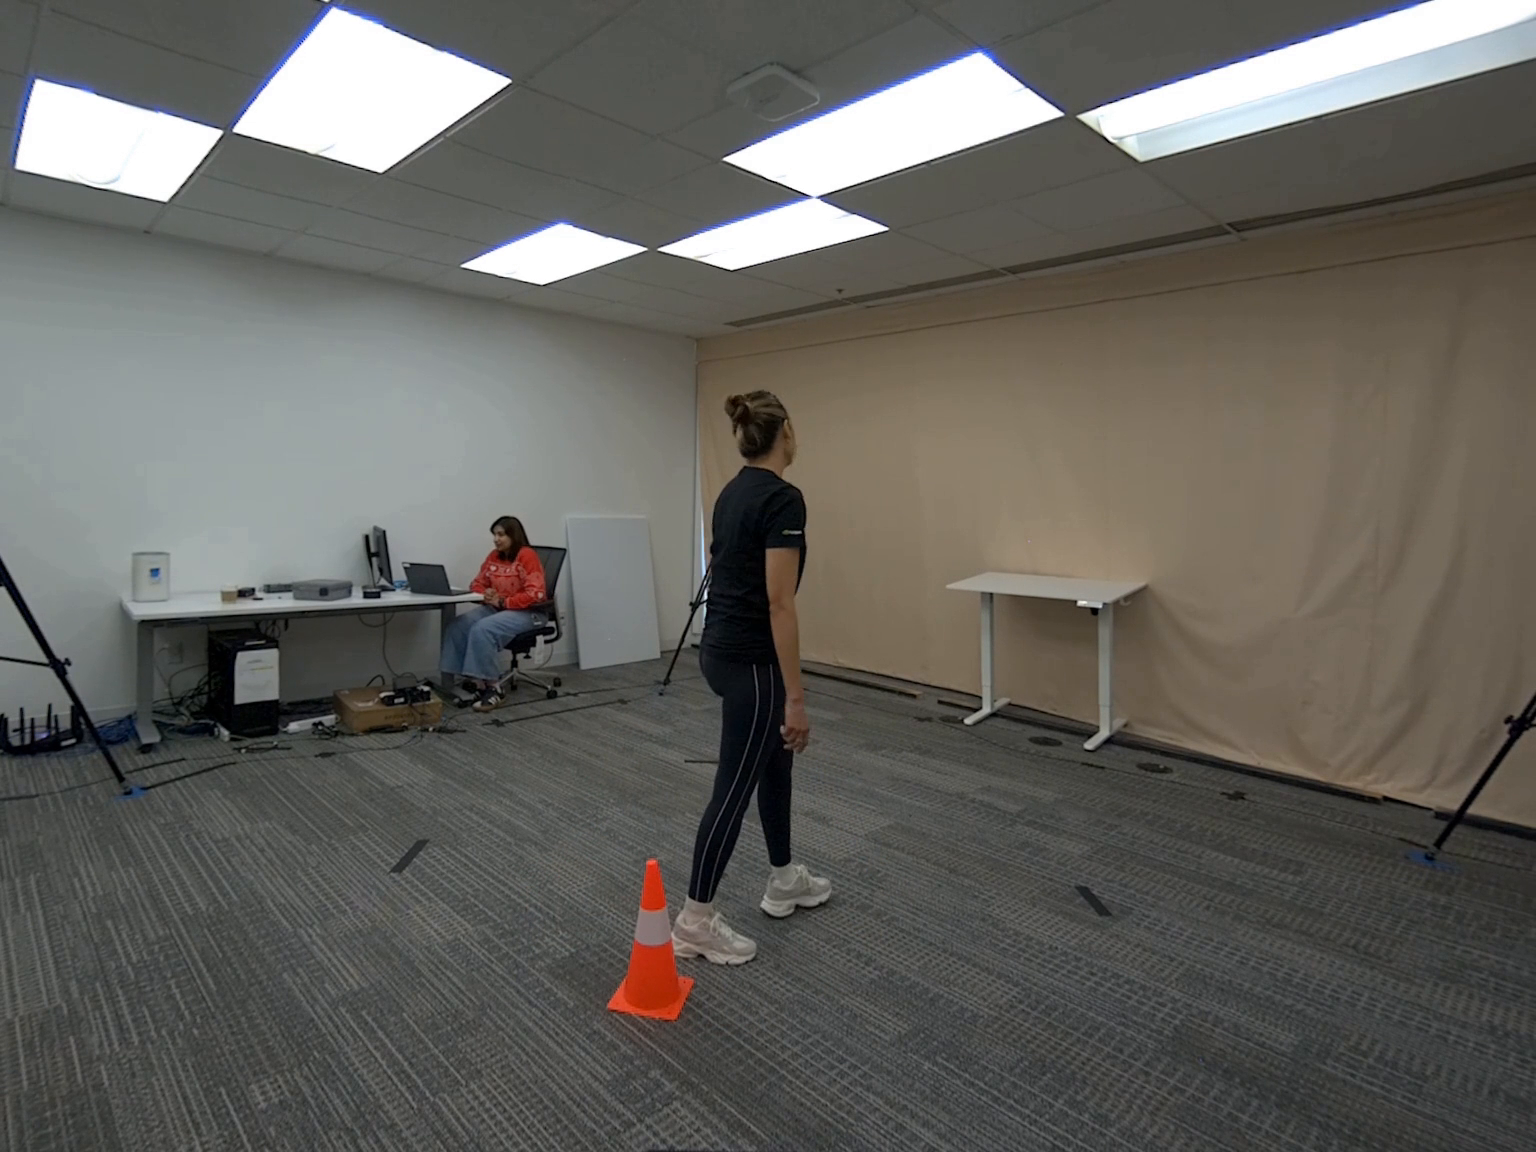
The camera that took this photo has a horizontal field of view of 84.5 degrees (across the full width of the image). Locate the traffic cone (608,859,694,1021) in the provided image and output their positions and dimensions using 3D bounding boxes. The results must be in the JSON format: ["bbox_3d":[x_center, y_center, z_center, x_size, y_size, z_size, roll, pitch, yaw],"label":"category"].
[{"bbox_3d":[-0.326,0.987,2.334,0.206,0.382,0.203,2,5,15],"label":"traffic cone"}]
